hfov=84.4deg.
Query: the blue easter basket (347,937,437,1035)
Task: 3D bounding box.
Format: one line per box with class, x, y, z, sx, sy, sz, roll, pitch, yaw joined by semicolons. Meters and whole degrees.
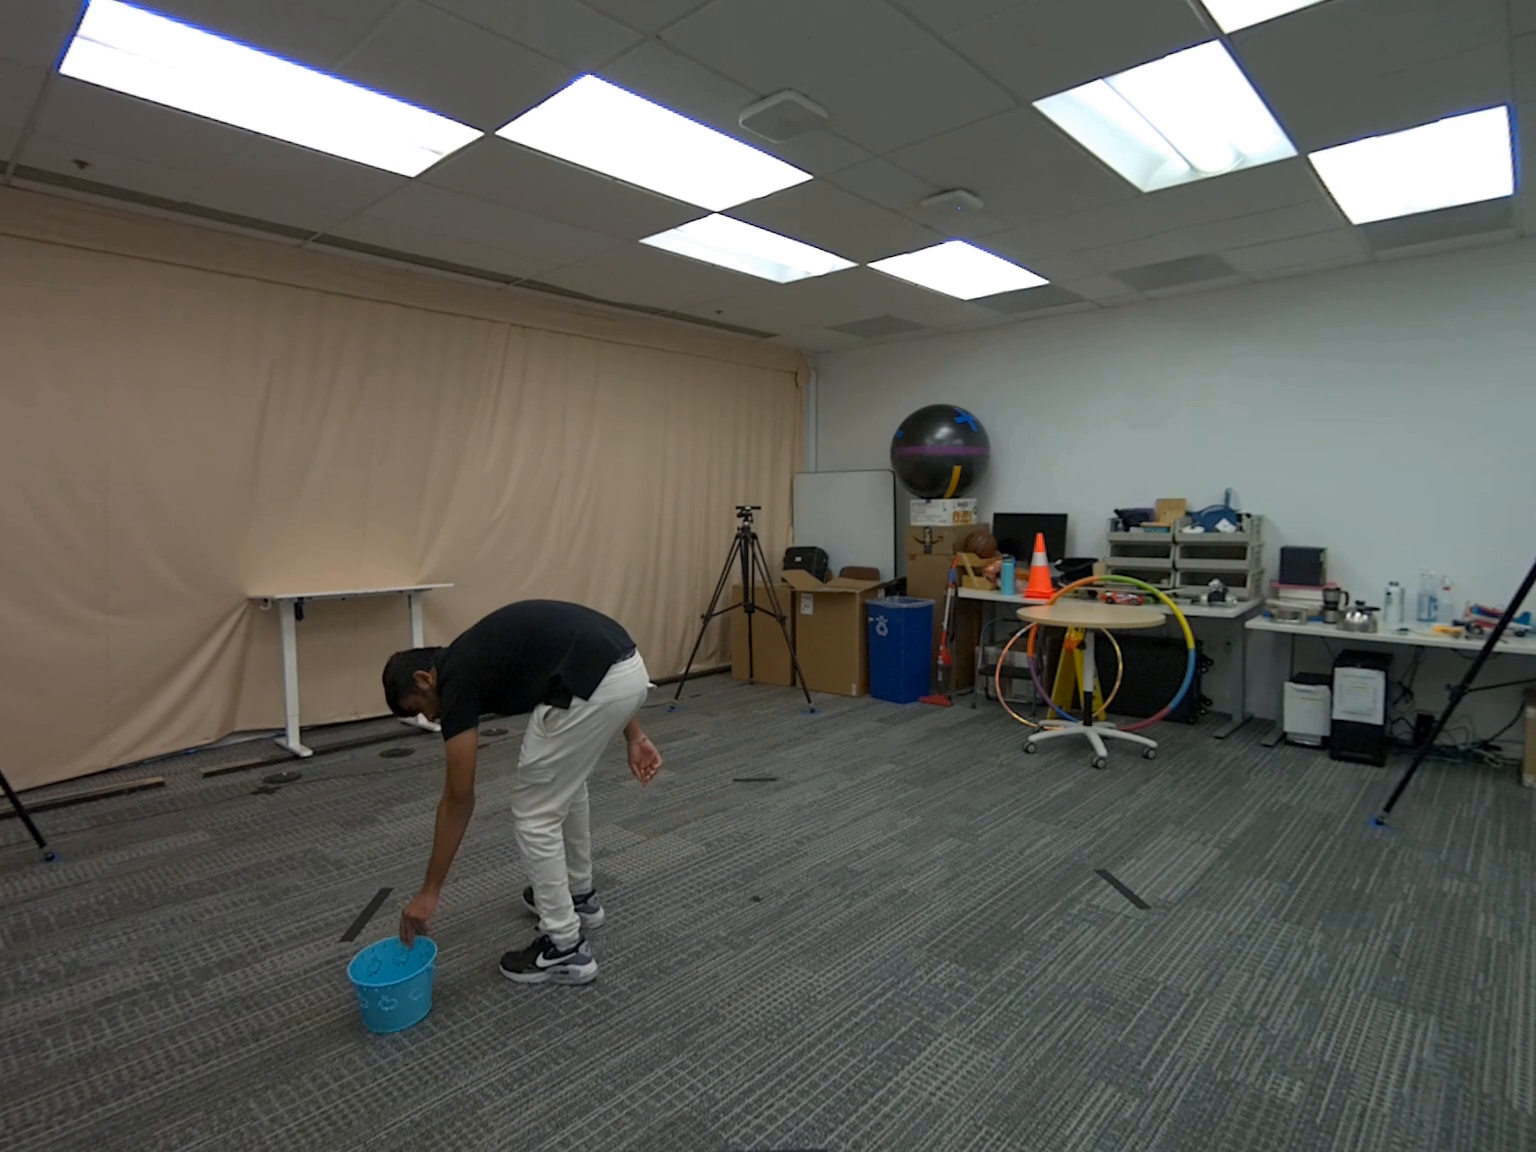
blue easter basket;-1.020;1.127;2.311;0.243;0.155;0.245;-2;8;-2
